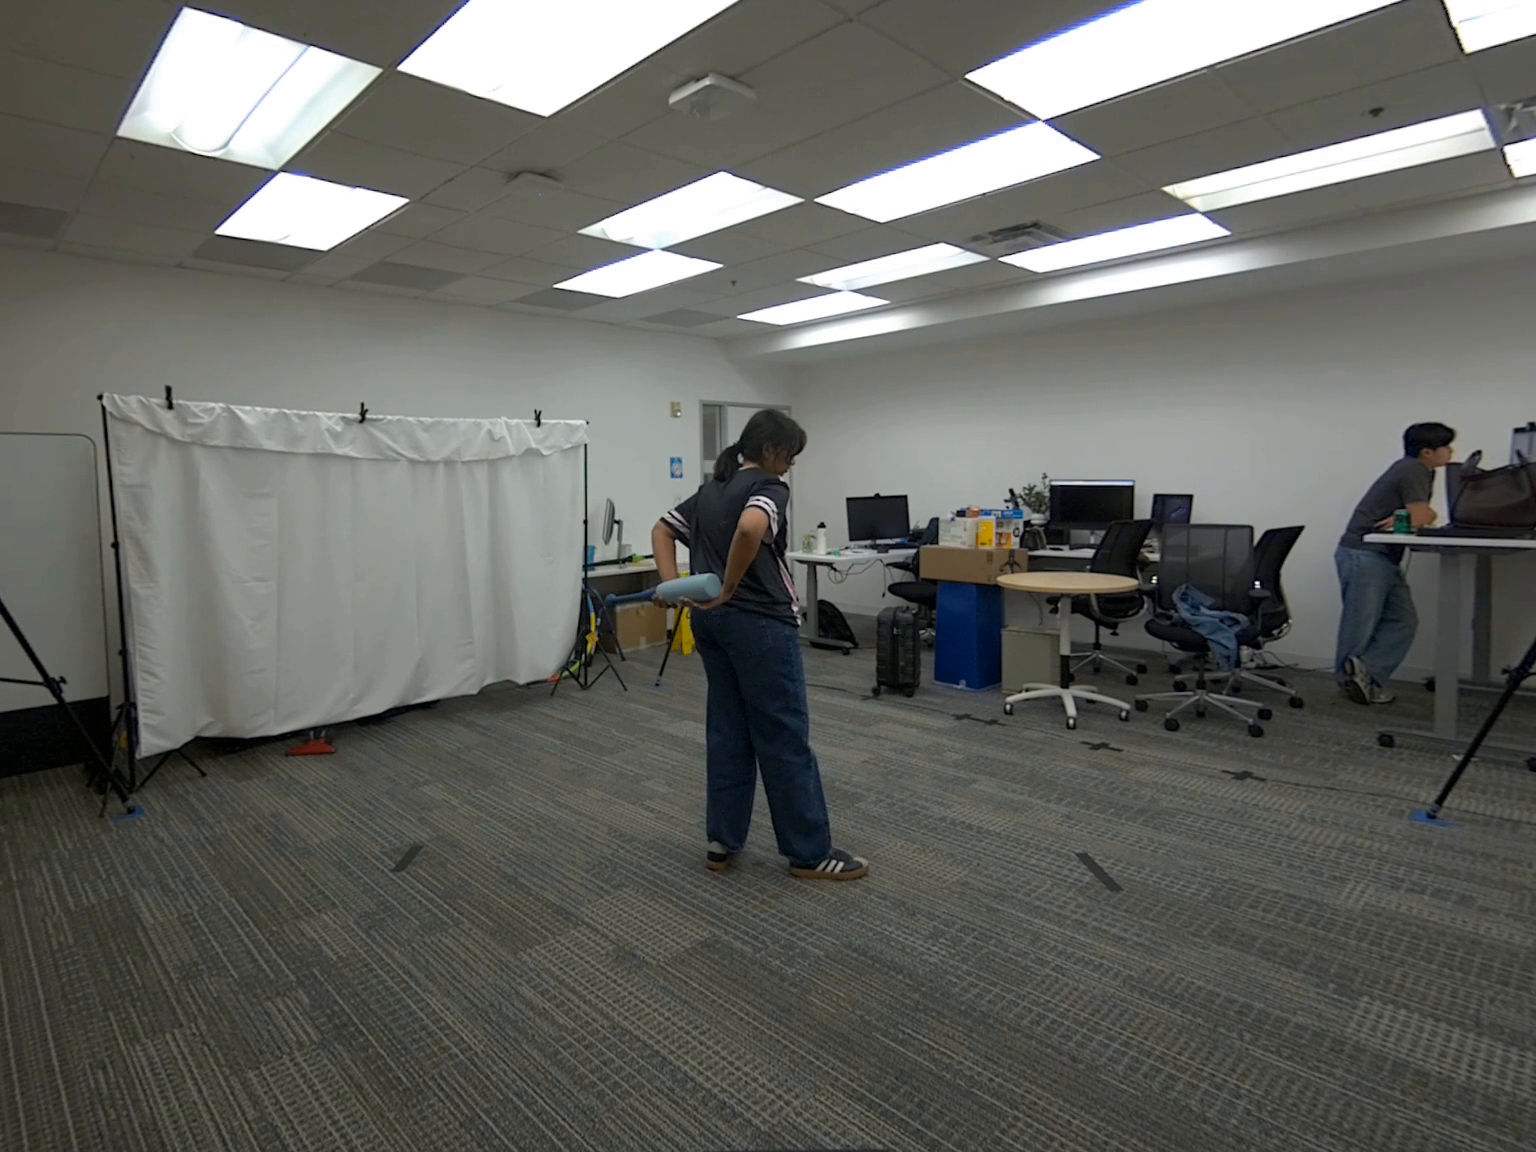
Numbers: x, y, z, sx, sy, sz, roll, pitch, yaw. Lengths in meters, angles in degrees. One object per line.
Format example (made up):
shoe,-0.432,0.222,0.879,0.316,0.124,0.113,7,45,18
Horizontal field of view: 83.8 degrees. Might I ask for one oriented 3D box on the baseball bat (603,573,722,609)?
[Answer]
baseball bat,-0.380,0.064,2.985,0.555,0.089,0.087,-9,-2,39
